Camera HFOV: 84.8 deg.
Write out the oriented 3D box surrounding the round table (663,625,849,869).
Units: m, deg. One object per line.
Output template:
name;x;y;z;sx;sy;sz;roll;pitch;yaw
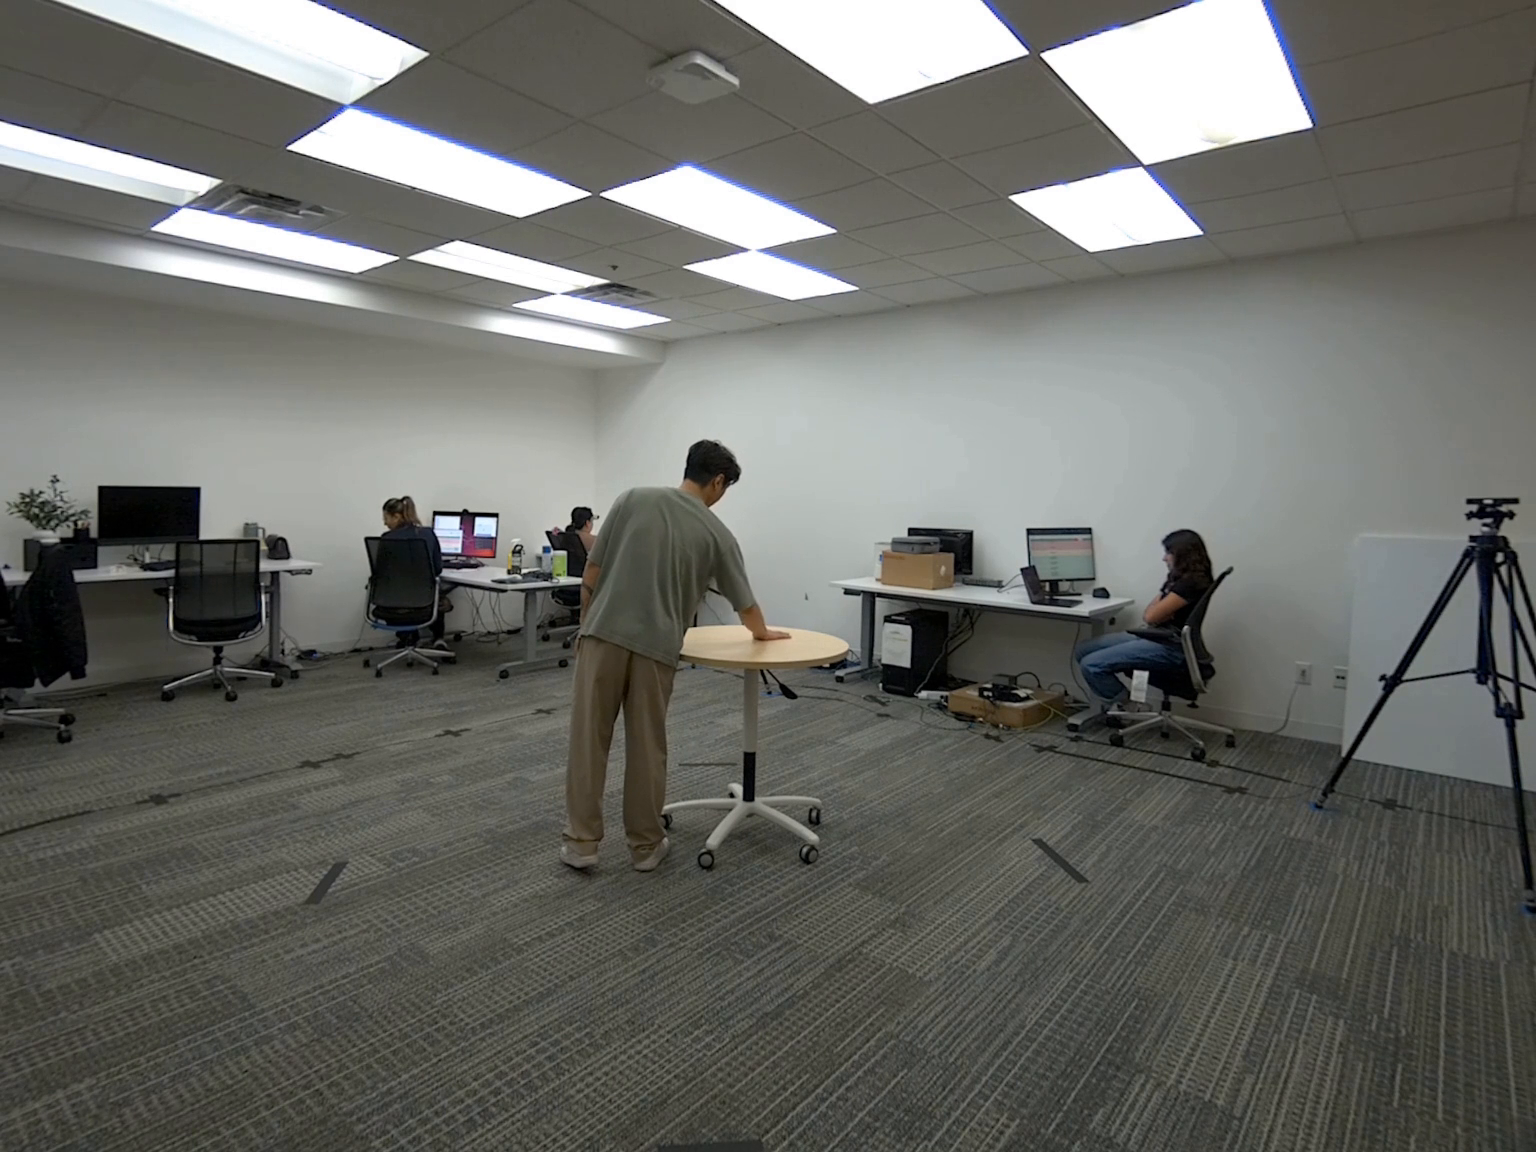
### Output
round table;-0.082;0.652;3.415;0.763;0.791;0.768;1;4;-2
